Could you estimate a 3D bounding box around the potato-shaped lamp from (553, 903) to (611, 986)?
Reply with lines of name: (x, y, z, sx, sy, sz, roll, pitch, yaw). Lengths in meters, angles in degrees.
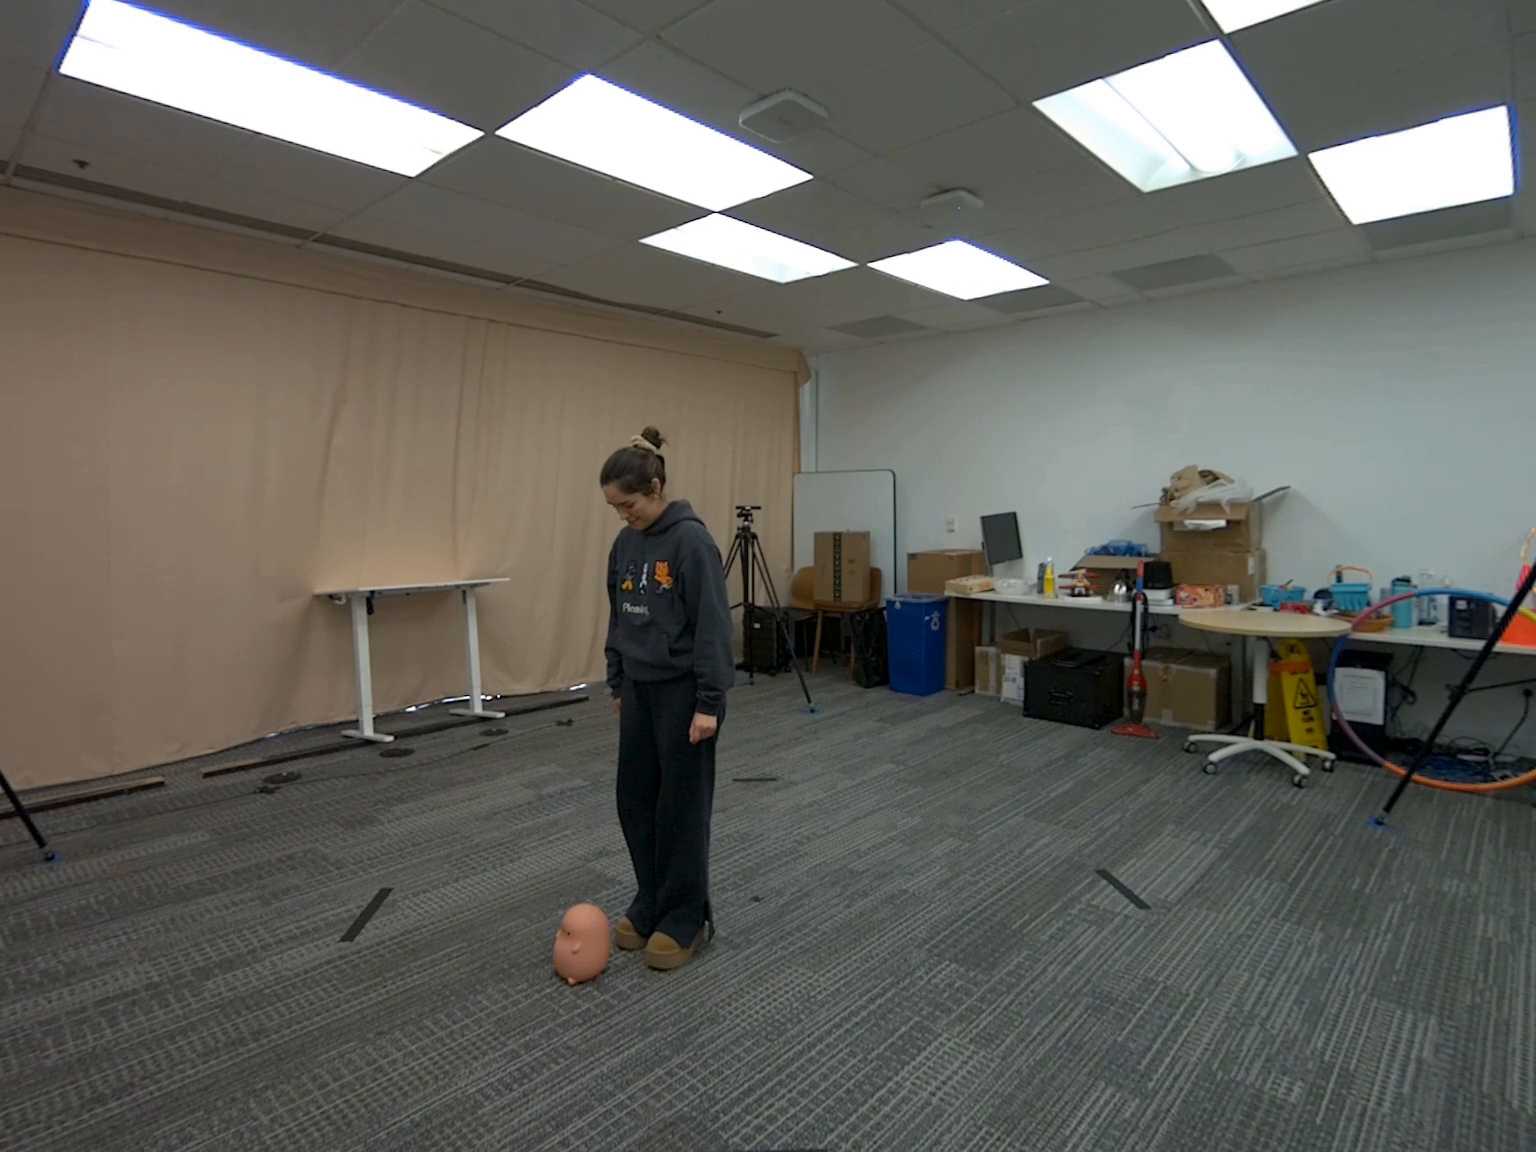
potato-shaped lamp: (-0.536, 1.093, 2.517, 0.166, 0.198, 0.170, 0, 2, -37)
